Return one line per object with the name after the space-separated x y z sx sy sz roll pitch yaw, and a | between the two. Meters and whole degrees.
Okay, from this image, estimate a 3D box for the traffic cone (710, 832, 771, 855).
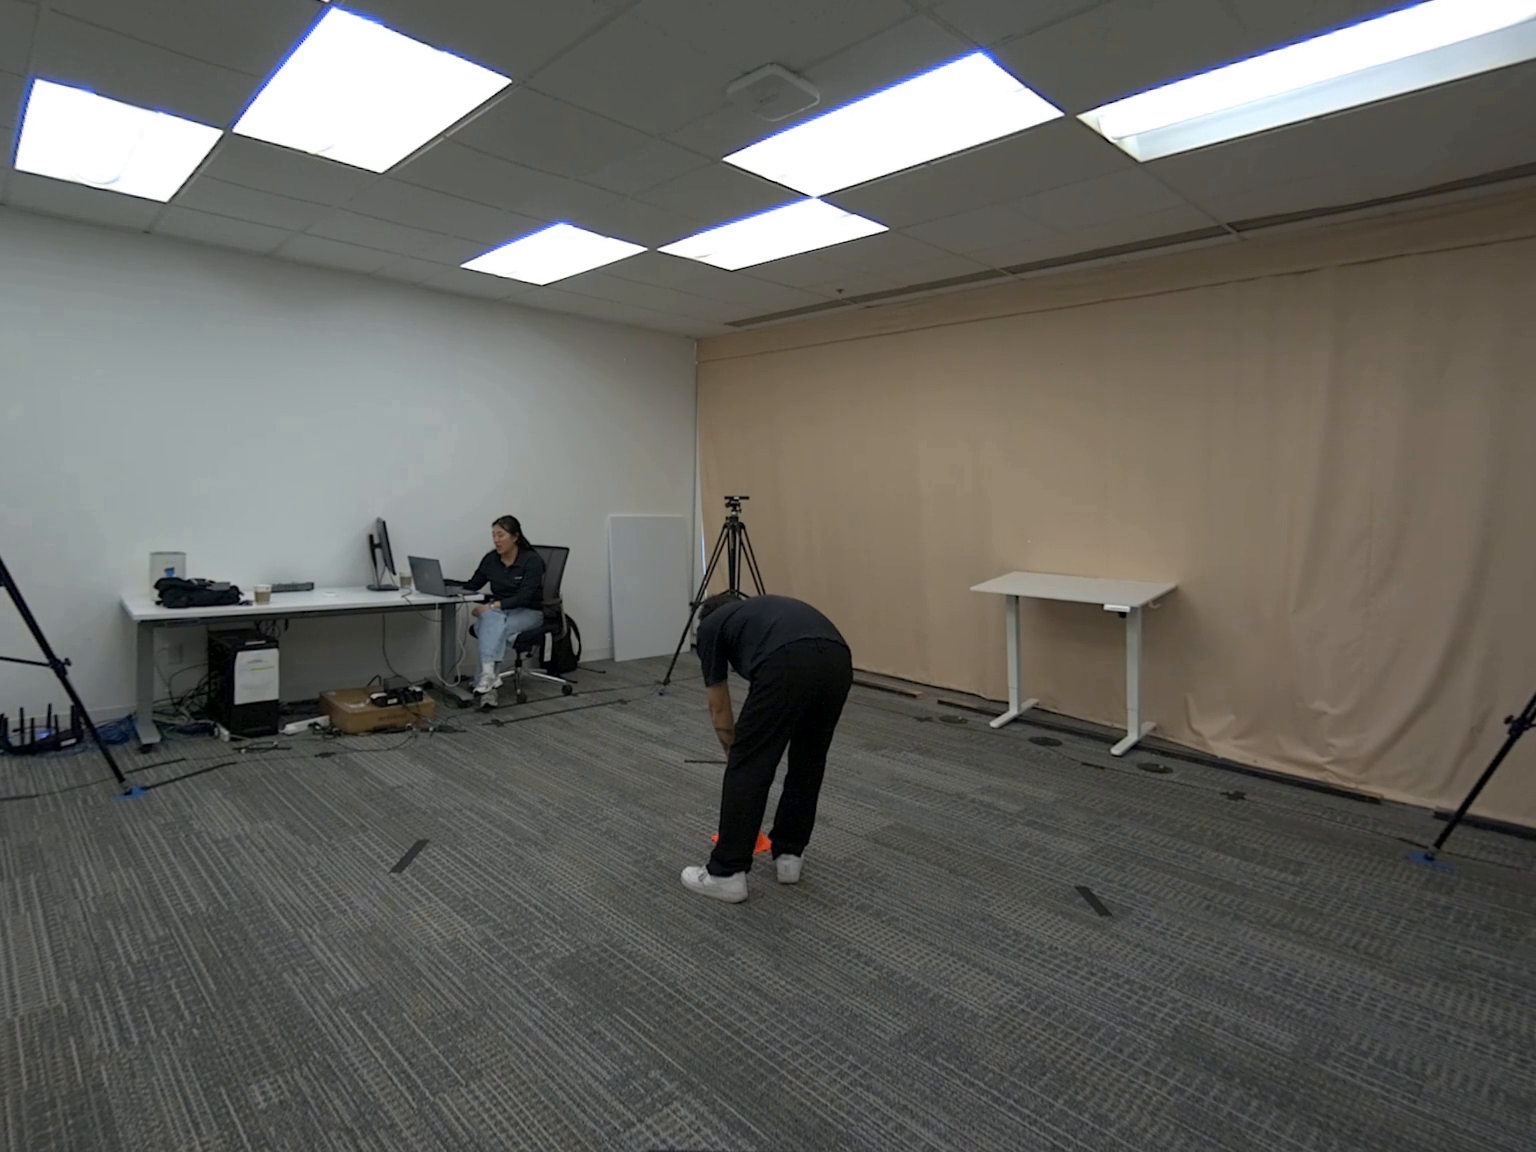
-0.090 0.897 3.371 0.201 0.381 0.209 -2 10 -34 | traffic cone
